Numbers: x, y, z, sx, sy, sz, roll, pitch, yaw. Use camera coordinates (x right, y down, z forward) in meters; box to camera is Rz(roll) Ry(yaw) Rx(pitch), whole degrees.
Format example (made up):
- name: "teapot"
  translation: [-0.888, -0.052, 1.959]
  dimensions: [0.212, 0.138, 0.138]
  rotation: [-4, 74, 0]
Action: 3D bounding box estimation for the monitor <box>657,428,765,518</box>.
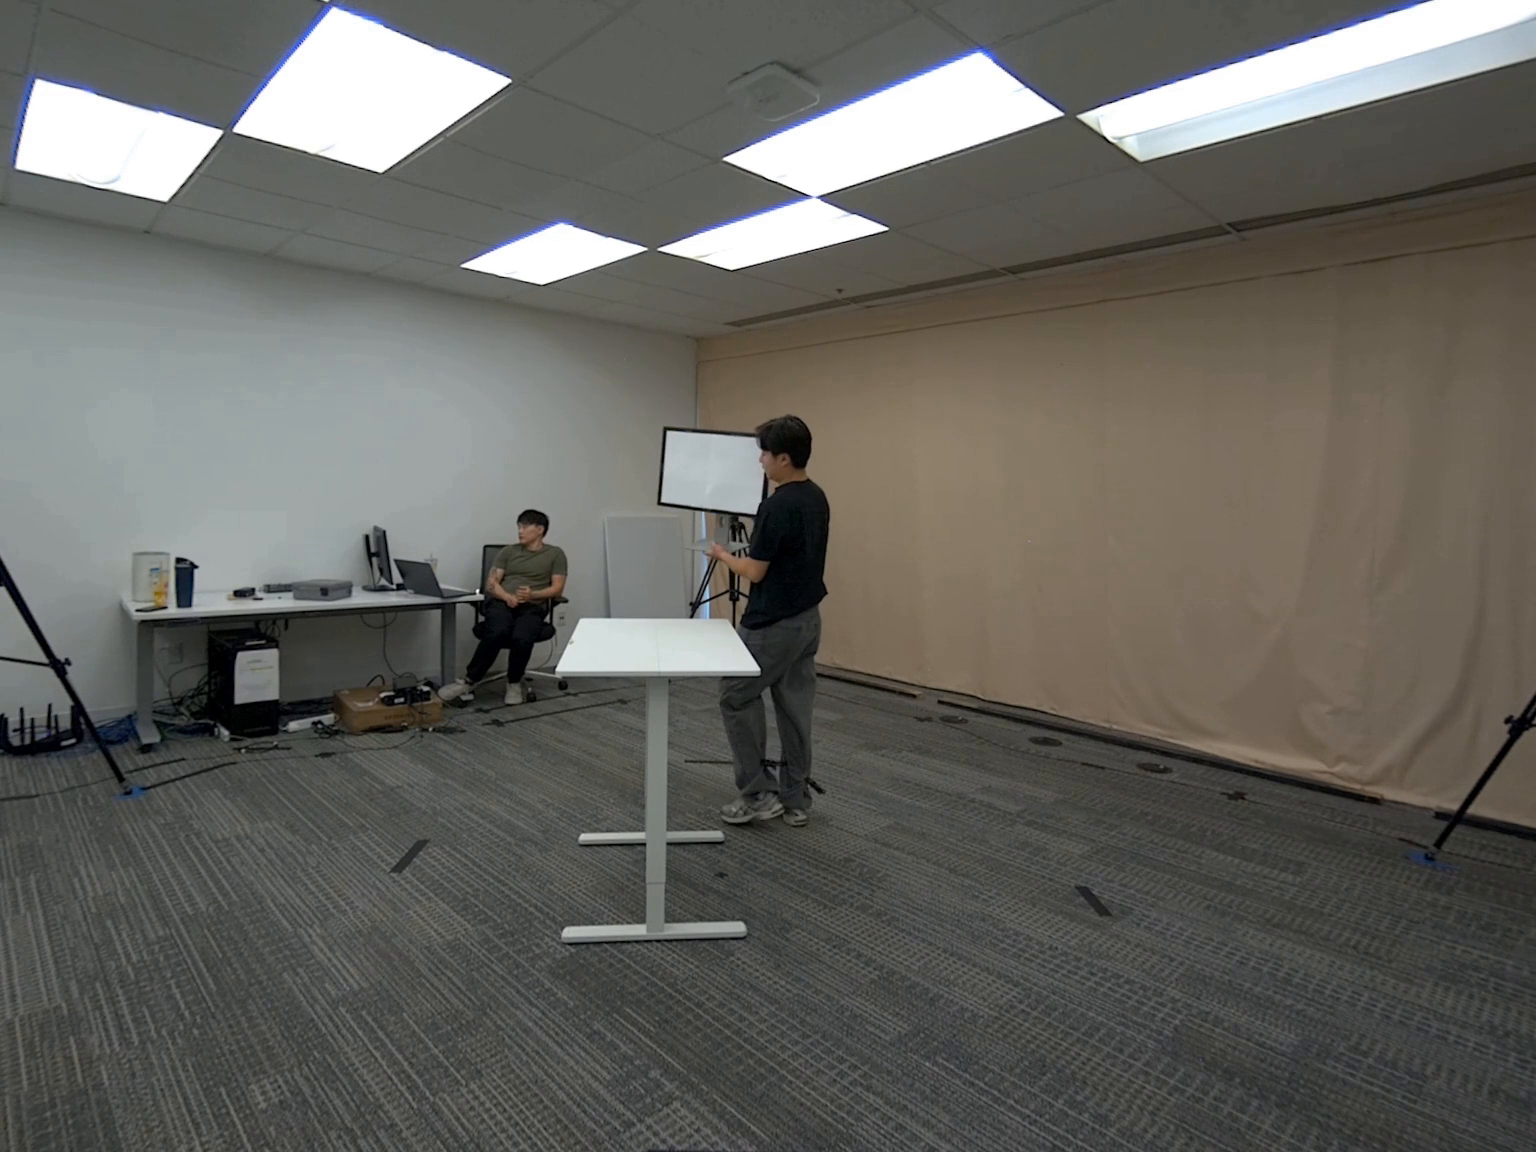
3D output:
- name: "monitor"
  translation: [-0.240, -0.370, 3.776]
  dimensions: [0.575, 0.558, 0.220]
  rotation: [10, 21, 31]
